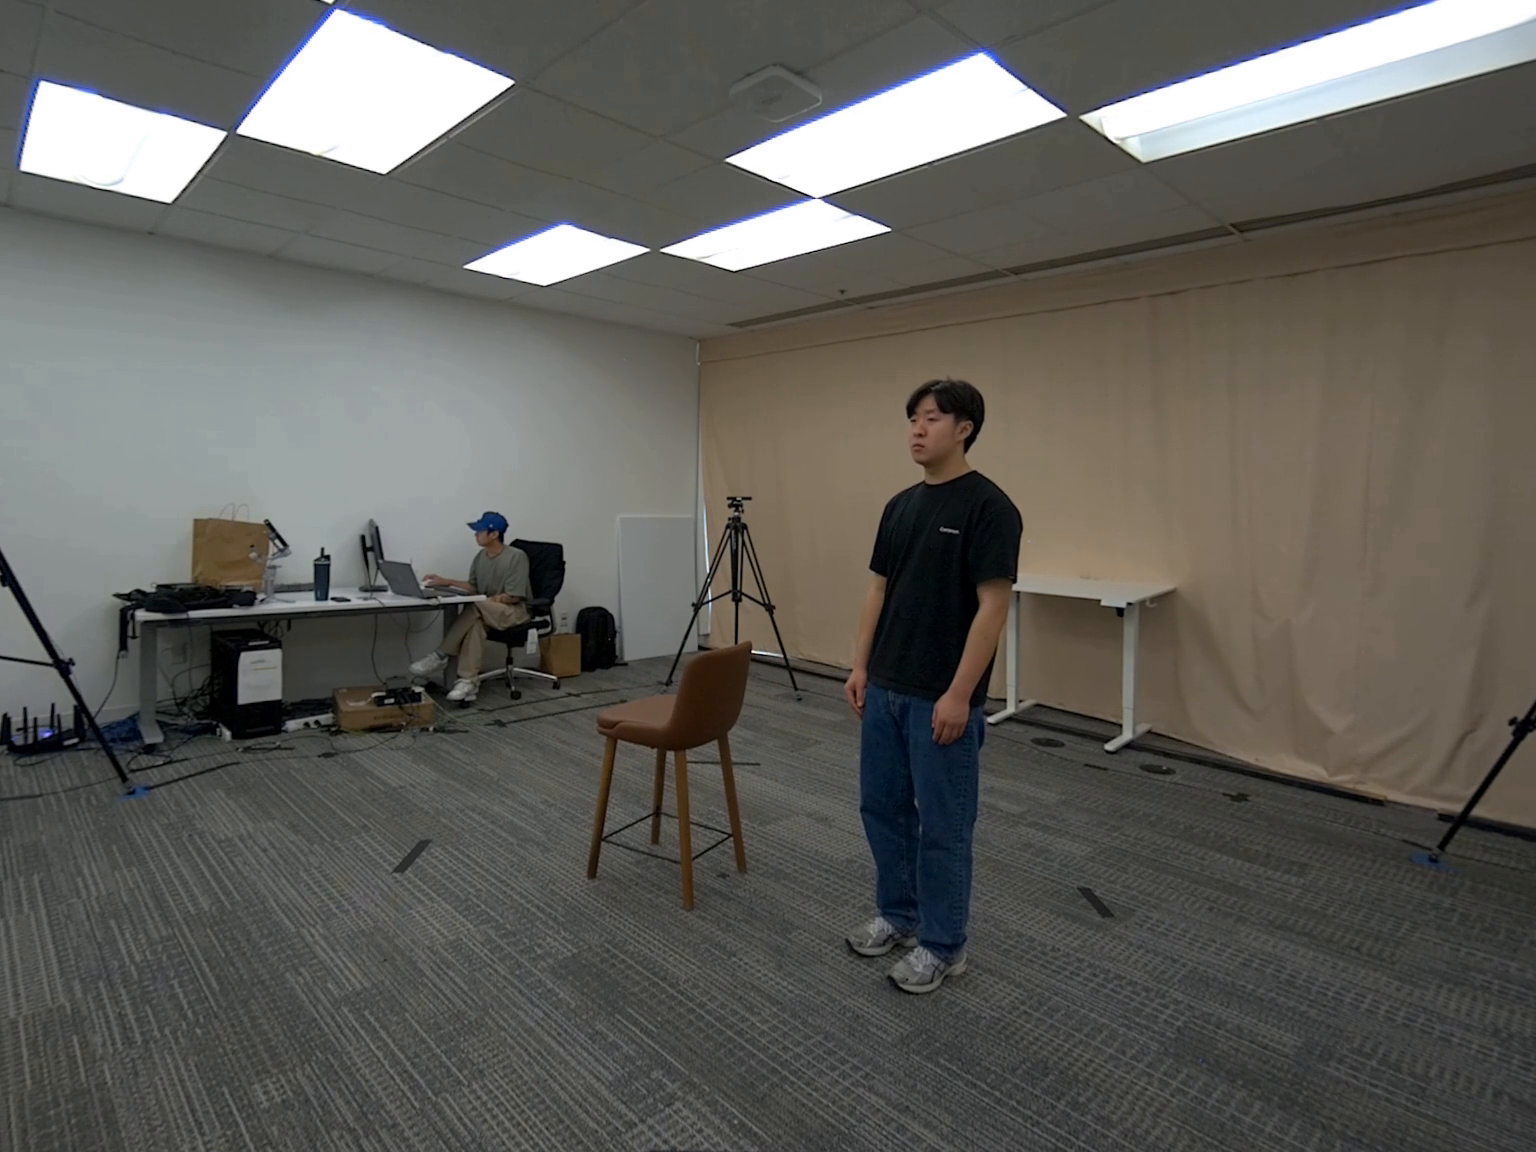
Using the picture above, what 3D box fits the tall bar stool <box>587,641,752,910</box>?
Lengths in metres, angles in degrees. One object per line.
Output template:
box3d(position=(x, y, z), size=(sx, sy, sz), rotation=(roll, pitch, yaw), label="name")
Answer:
box3d(position=(-0.353, 0.669, 3.080), size=(0.478, 0.887, 0.447), rotation=(6, 6, 32), label="tall bar stool")
